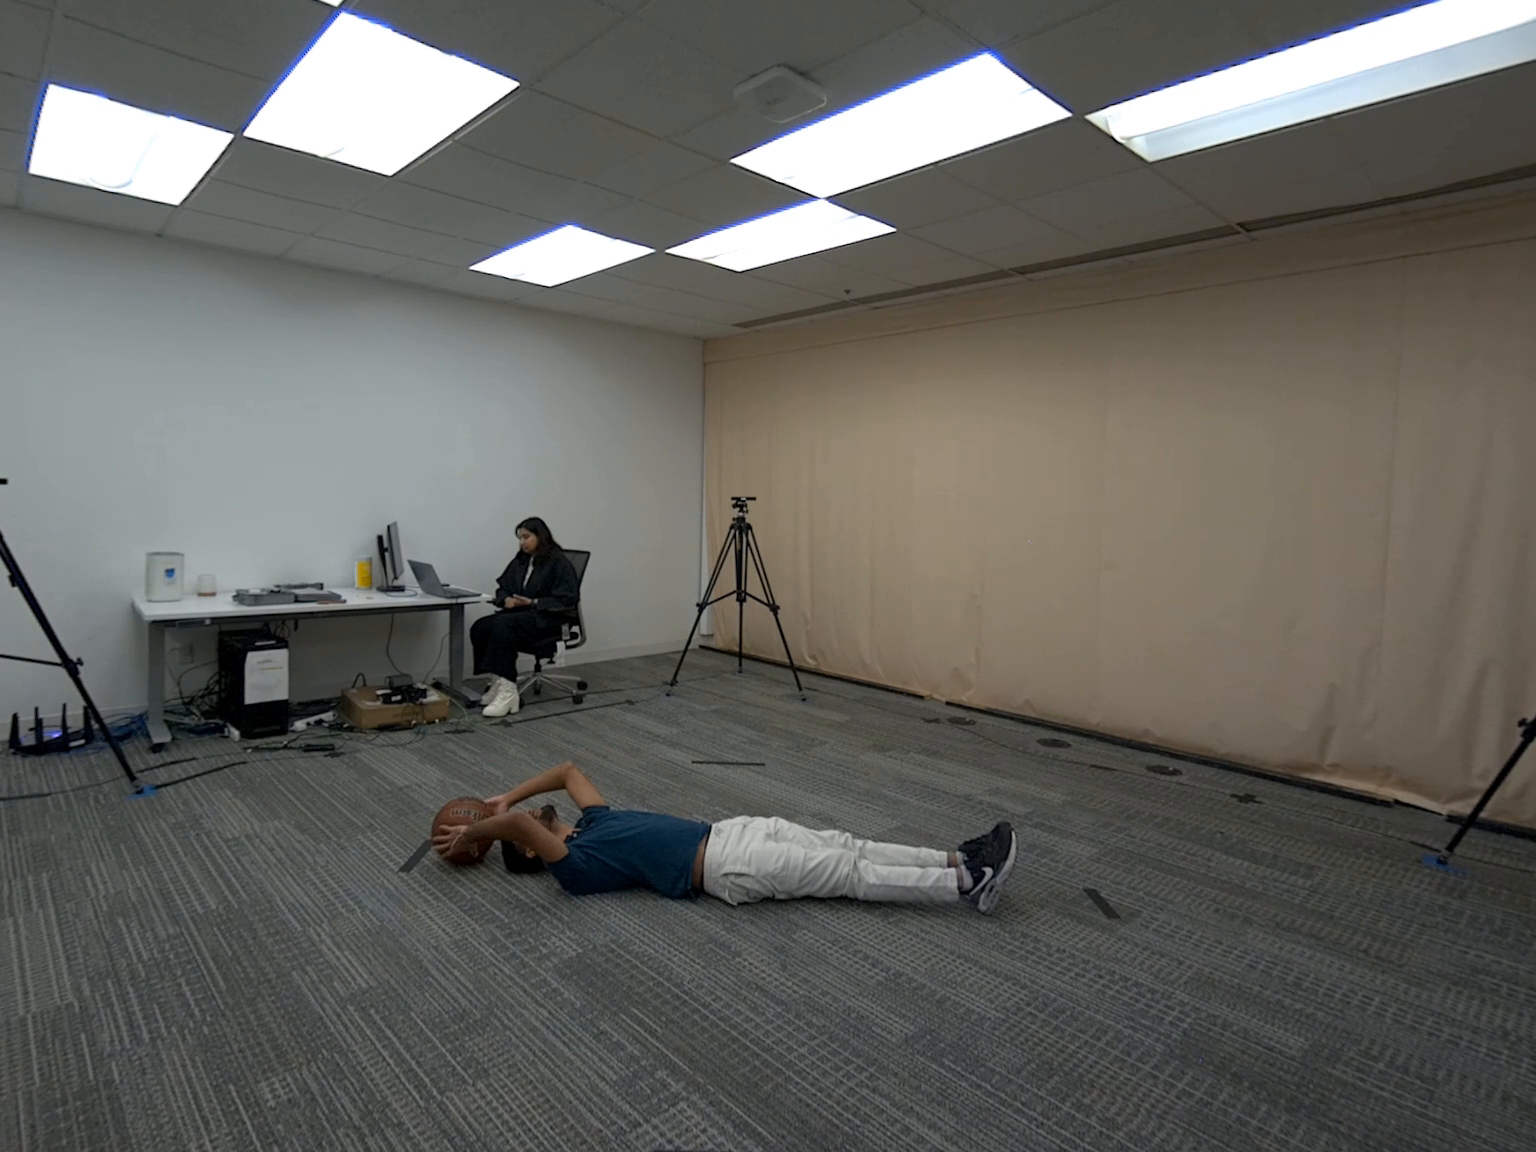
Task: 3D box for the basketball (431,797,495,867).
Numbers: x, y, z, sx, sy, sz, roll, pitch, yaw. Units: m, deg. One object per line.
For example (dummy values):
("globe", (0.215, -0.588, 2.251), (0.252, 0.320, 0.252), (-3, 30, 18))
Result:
("basketball", (-1.156, 0.959, 3.172), (0.236, 0.235, 0.237), (1, 4, -1))
